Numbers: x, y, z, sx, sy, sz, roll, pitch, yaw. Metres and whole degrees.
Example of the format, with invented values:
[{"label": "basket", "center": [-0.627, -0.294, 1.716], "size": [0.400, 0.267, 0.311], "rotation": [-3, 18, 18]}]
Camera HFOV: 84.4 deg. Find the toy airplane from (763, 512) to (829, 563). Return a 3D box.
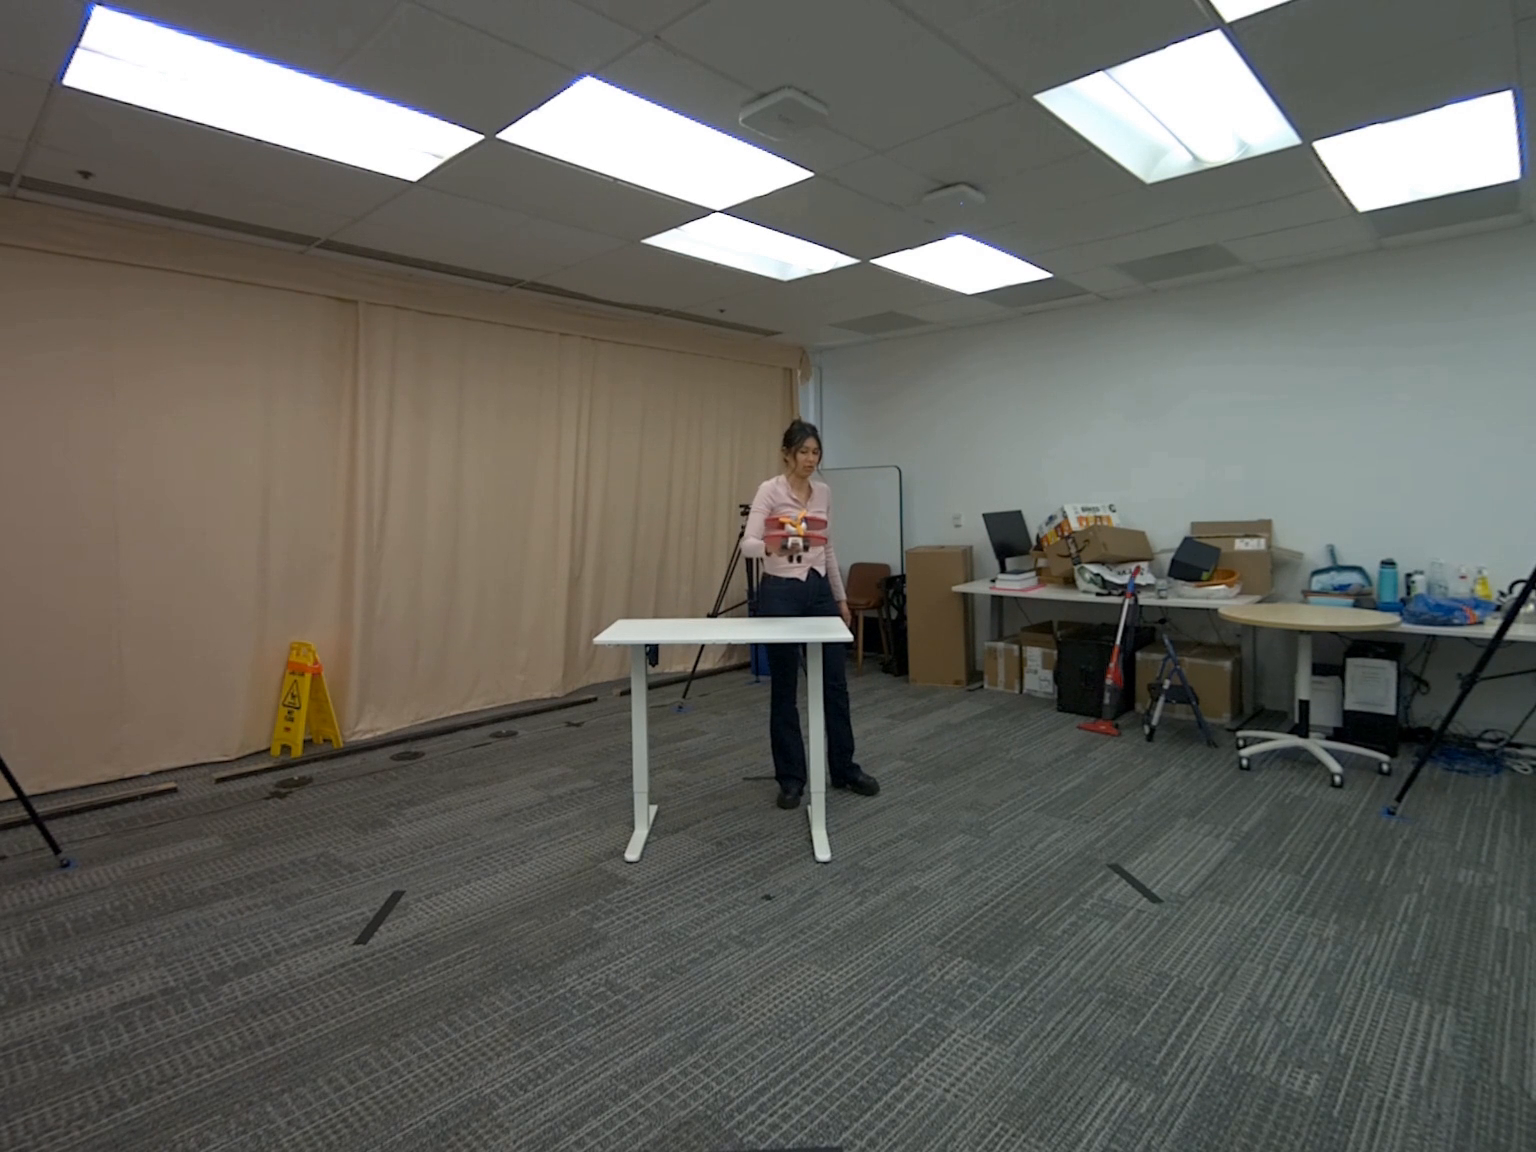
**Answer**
[{"label": "toy airplane", "center": [0.096, -0.153, 3.429], "size": [0.245, 0.158, 0.263], "rotation": [9, -15, -22]}]
